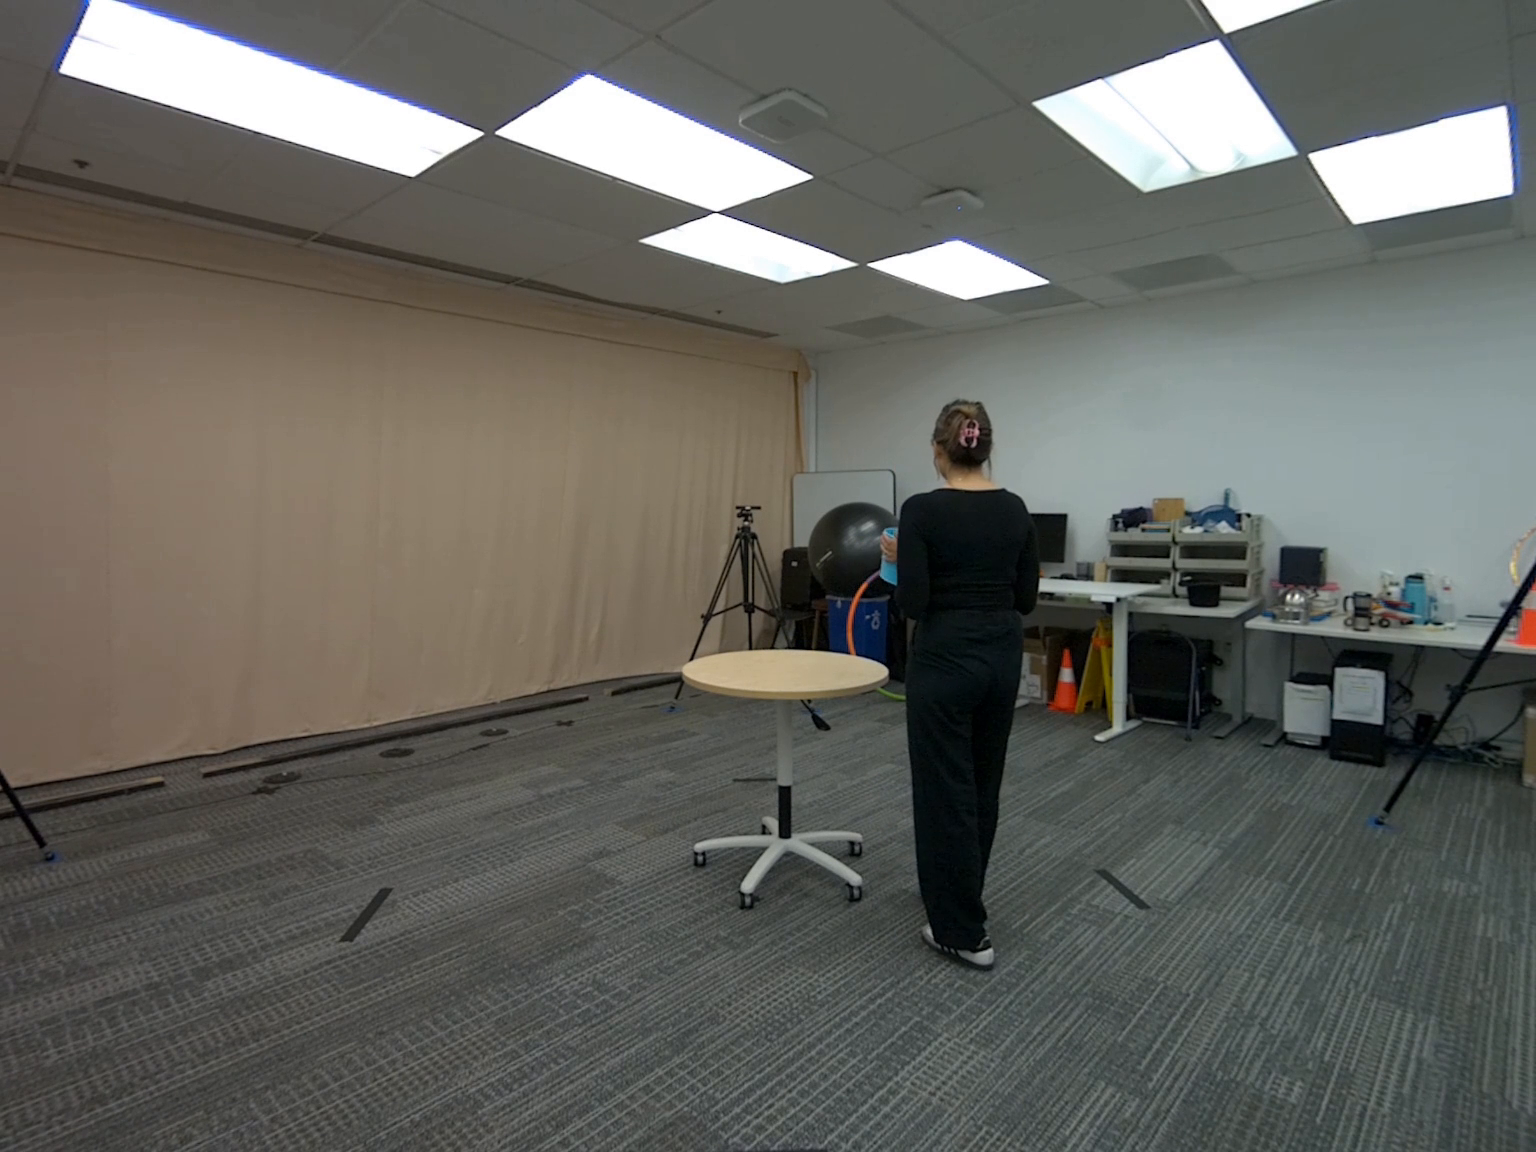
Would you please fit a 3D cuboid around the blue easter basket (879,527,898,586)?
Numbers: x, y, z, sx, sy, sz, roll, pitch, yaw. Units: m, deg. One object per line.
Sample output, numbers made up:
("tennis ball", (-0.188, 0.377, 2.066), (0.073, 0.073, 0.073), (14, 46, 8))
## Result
("blue easter basket", (0.511, -0.050, 2.789), (0.243, 0.155, 0.246), (9, 15, -4))
